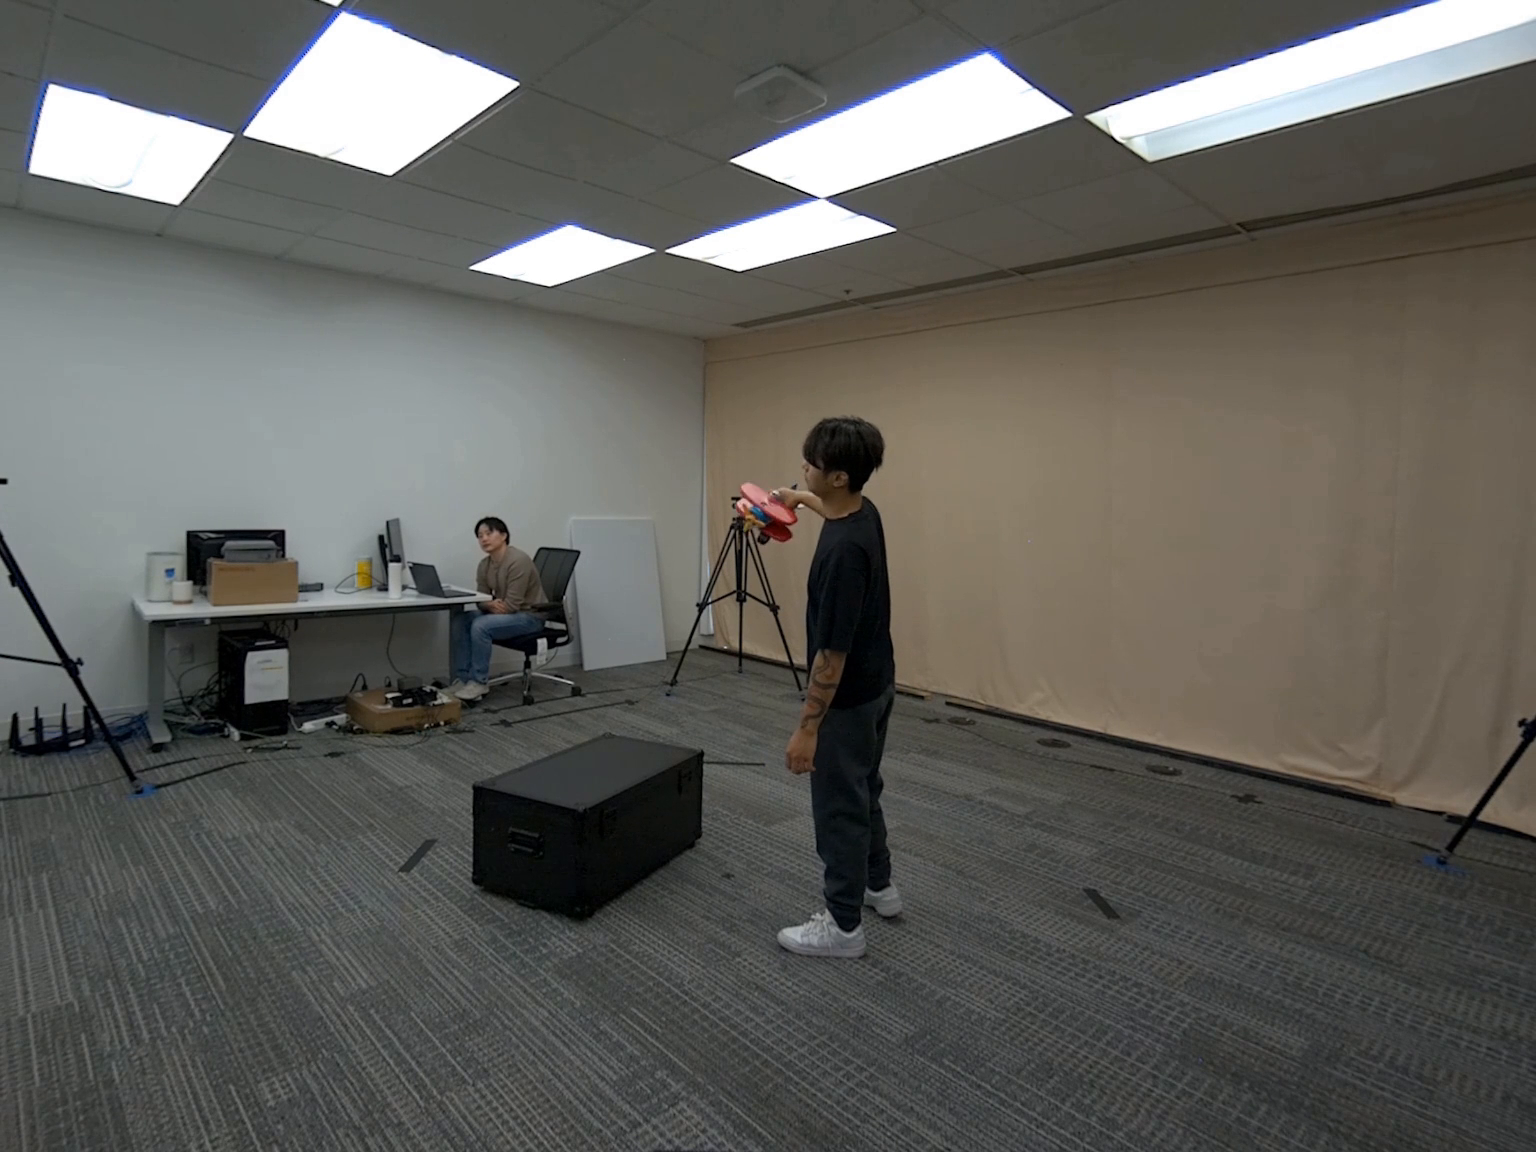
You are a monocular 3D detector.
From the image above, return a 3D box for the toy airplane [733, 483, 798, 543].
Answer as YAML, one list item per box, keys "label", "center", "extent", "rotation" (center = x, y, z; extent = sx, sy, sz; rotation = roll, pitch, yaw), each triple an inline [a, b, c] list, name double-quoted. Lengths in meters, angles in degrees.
- label: "toy airplane"
  center: [-0.004, -0.253, 3.129]
  extent: [0.253, 0.262, 0.153]
  rotation: [14, -38, 7]
